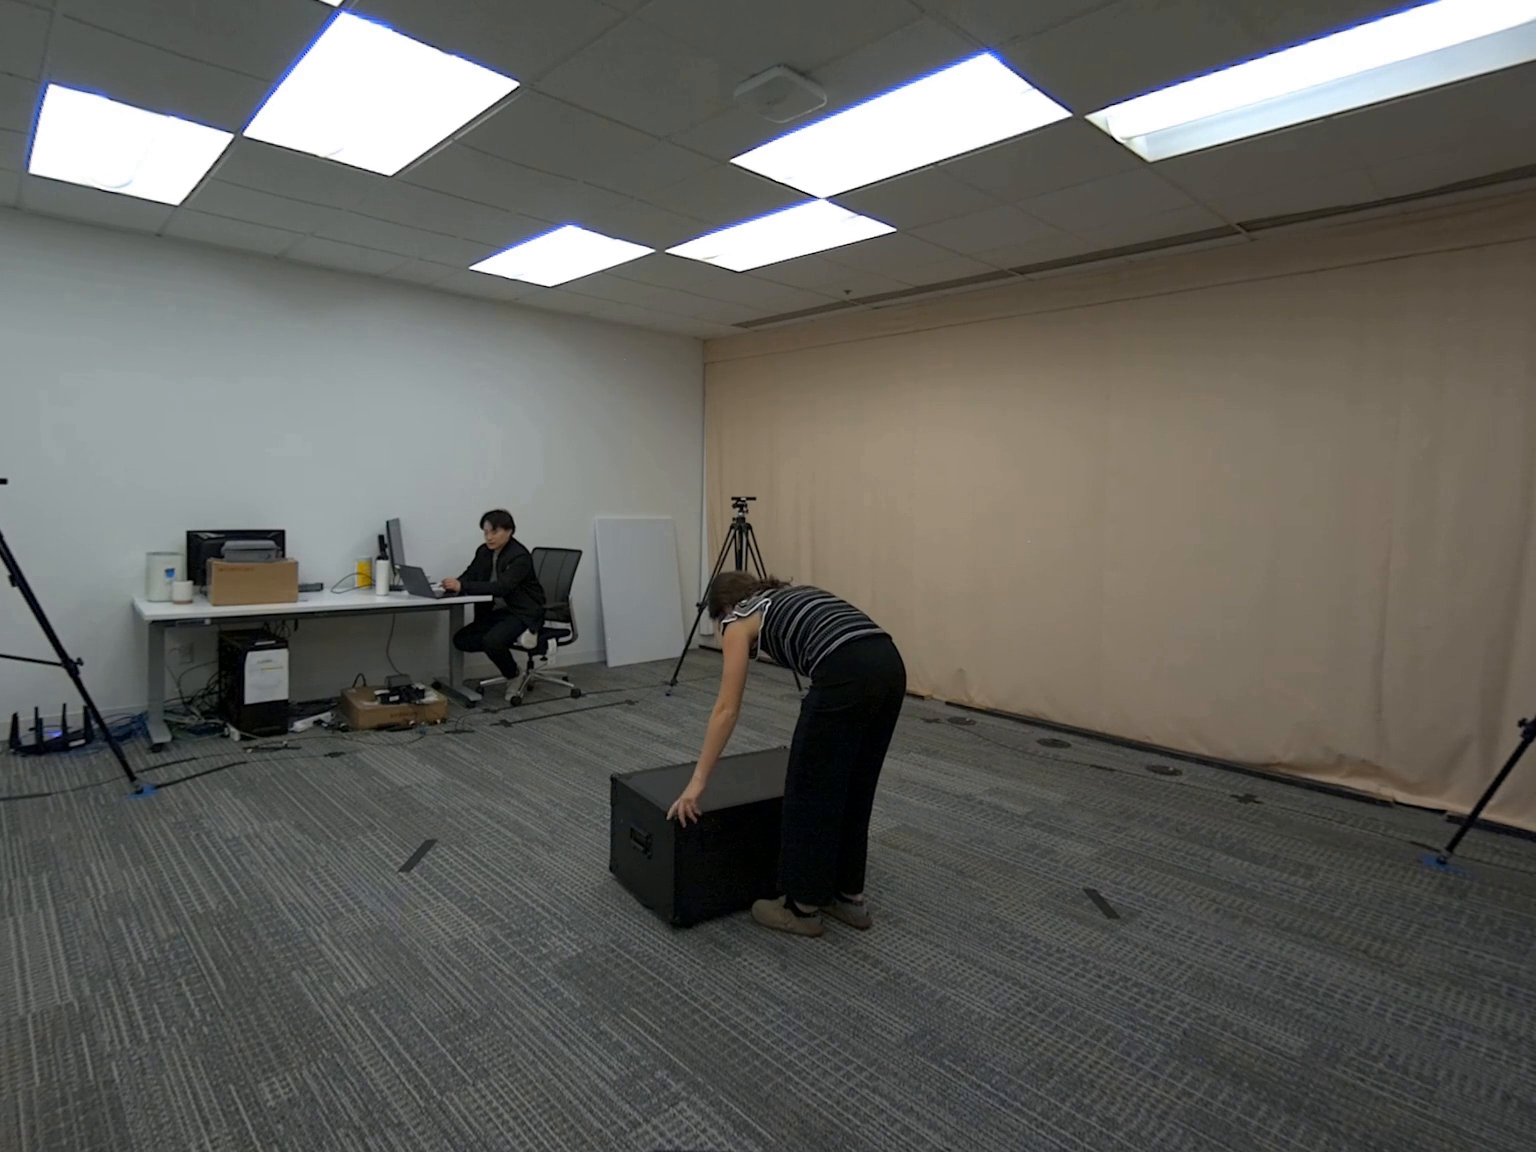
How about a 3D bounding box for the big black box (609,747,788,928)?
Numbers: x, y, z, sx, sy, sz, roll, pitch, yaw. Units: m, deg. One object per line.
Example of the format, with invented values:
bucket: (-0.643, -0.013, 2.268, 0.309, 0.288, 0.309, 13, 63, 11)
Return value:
big black box: (-0.097, 0.917, 3.087, 0.843, 0.395, 0.534, -3, 6, -34)
